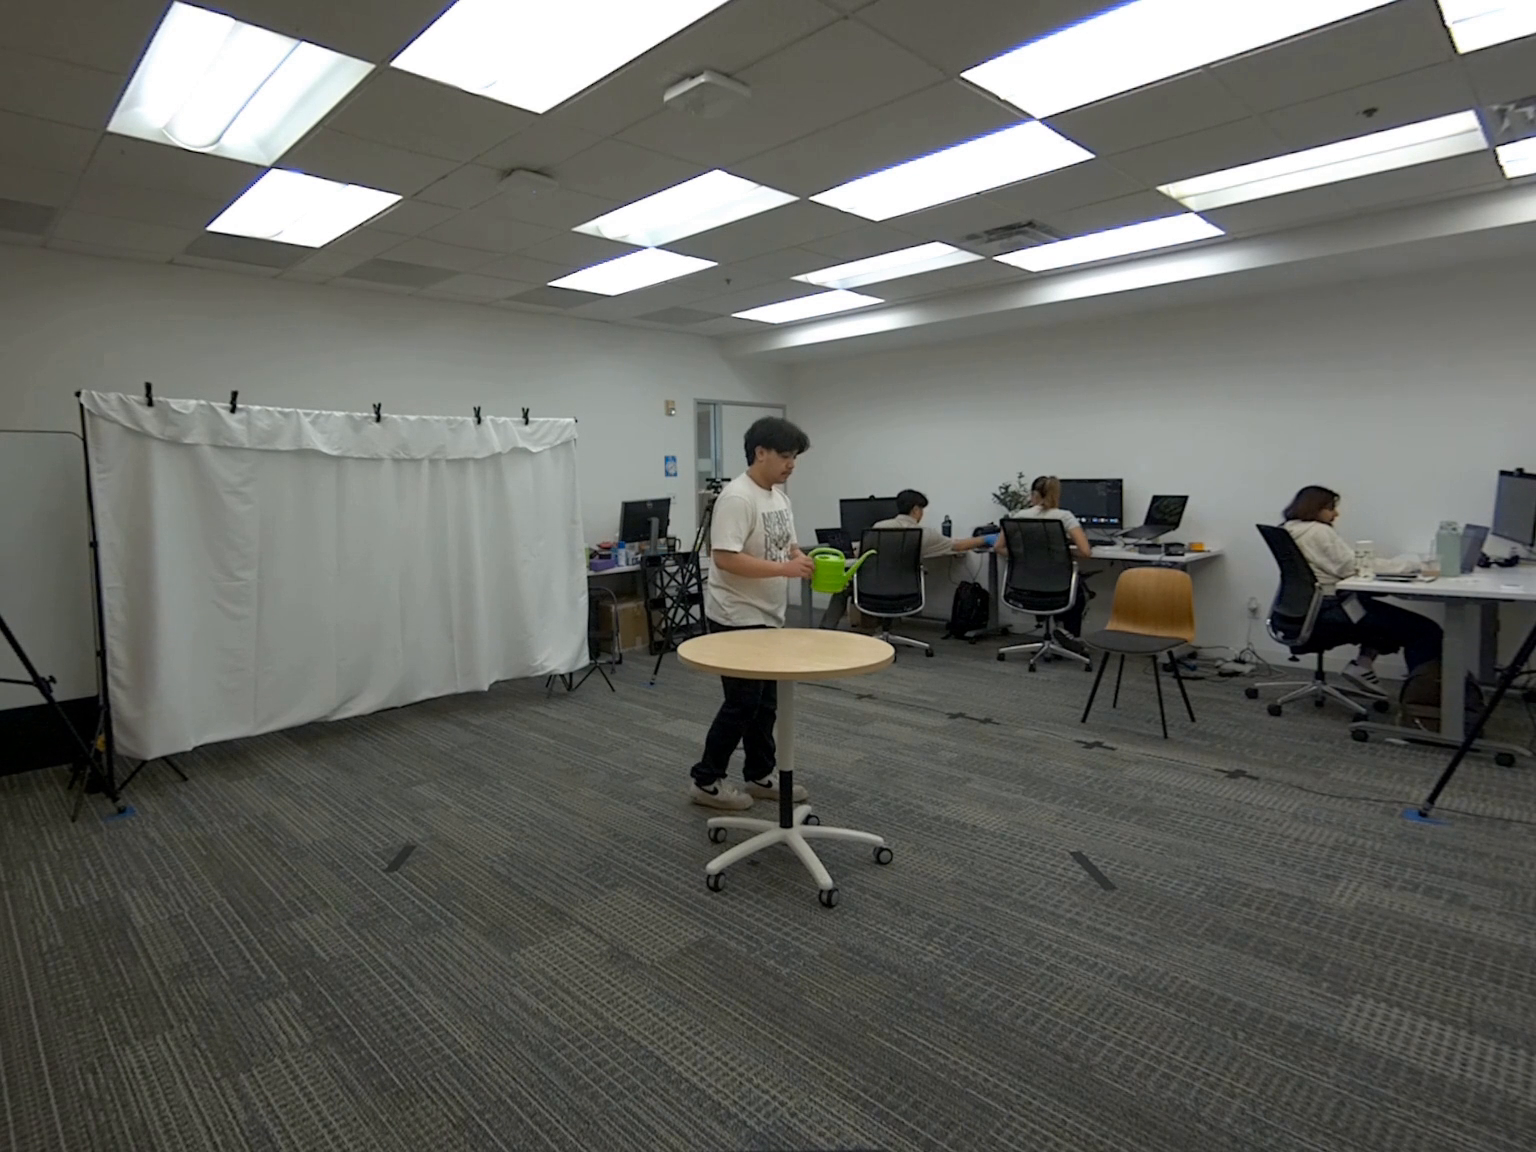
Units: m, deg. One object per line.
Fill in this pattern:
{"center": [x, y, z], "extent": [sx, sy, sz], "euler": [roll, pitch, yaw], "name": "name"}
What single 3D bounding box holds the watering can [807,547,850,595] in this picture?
{"center": [0.286, -0.023, 3.469], "extent": [0.281, 0.175, 0.098], "euler": [6, 13, 10], "name": "watering can"}
